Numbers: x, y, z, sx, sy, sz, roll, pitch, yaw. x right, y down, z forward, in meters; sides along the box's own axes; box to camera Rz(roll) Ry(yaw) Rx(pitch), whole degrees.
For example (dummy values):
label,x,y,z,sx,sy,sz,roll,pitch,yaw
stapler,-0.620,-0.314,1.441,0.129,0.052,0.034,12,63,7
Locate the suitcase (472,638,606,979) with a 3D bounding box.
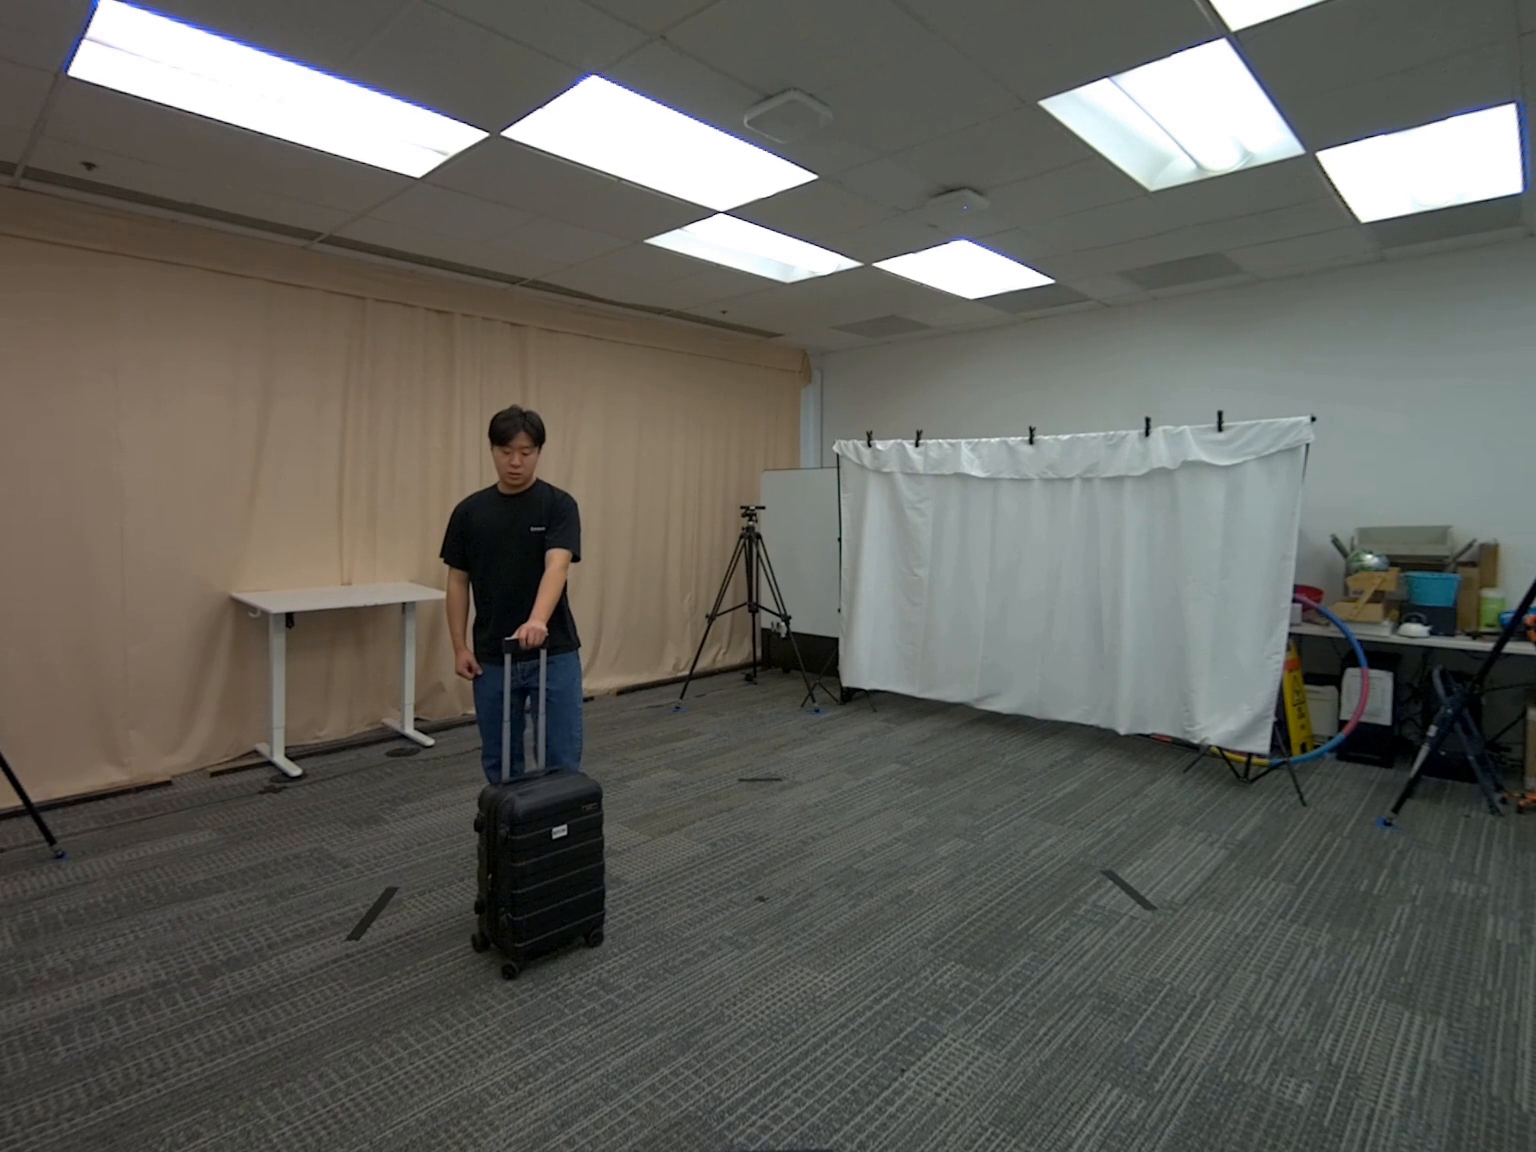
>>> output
label,x,y,z,sx,sy,sz,roll,pitch,yaw
suitcase,-0.707,0.703,2.640,0.266,0.976,0.372,6,5,44
